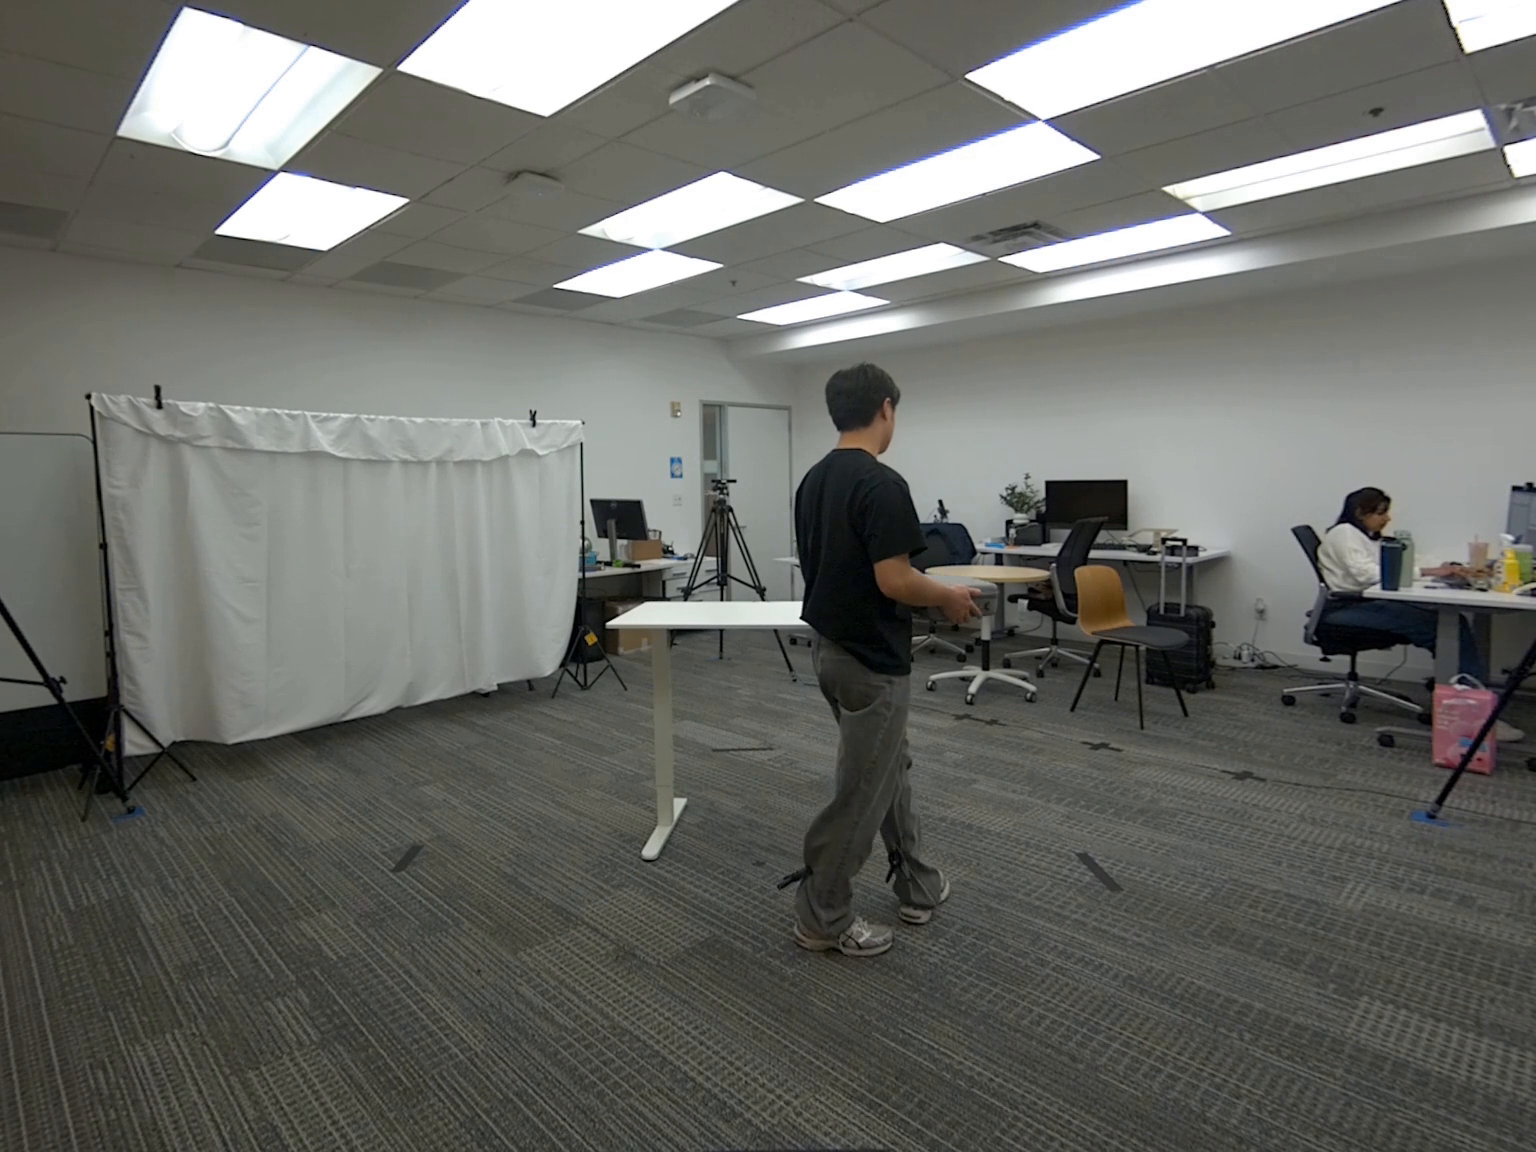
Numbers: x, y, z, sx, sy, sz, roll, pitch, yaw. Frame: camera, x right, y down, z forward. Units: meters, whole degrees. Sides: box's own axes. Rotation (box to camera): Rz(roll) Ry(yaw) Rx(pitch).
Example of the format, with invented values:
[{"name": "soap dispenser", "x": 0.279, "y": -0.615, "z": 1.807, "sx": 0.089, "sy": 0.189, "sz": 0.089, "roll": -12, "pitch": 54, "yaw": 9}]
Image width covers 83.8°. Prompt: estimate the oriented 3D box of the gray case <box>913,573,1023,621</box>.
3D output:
[{"name": "gray case", "x": 0.571, "y": 0.057, "z": 2.632, "sx": 0.281, "sy": 0.102, "sz": 0.269, "roll": -1, "pitch": 6, "yaw": -22}]
